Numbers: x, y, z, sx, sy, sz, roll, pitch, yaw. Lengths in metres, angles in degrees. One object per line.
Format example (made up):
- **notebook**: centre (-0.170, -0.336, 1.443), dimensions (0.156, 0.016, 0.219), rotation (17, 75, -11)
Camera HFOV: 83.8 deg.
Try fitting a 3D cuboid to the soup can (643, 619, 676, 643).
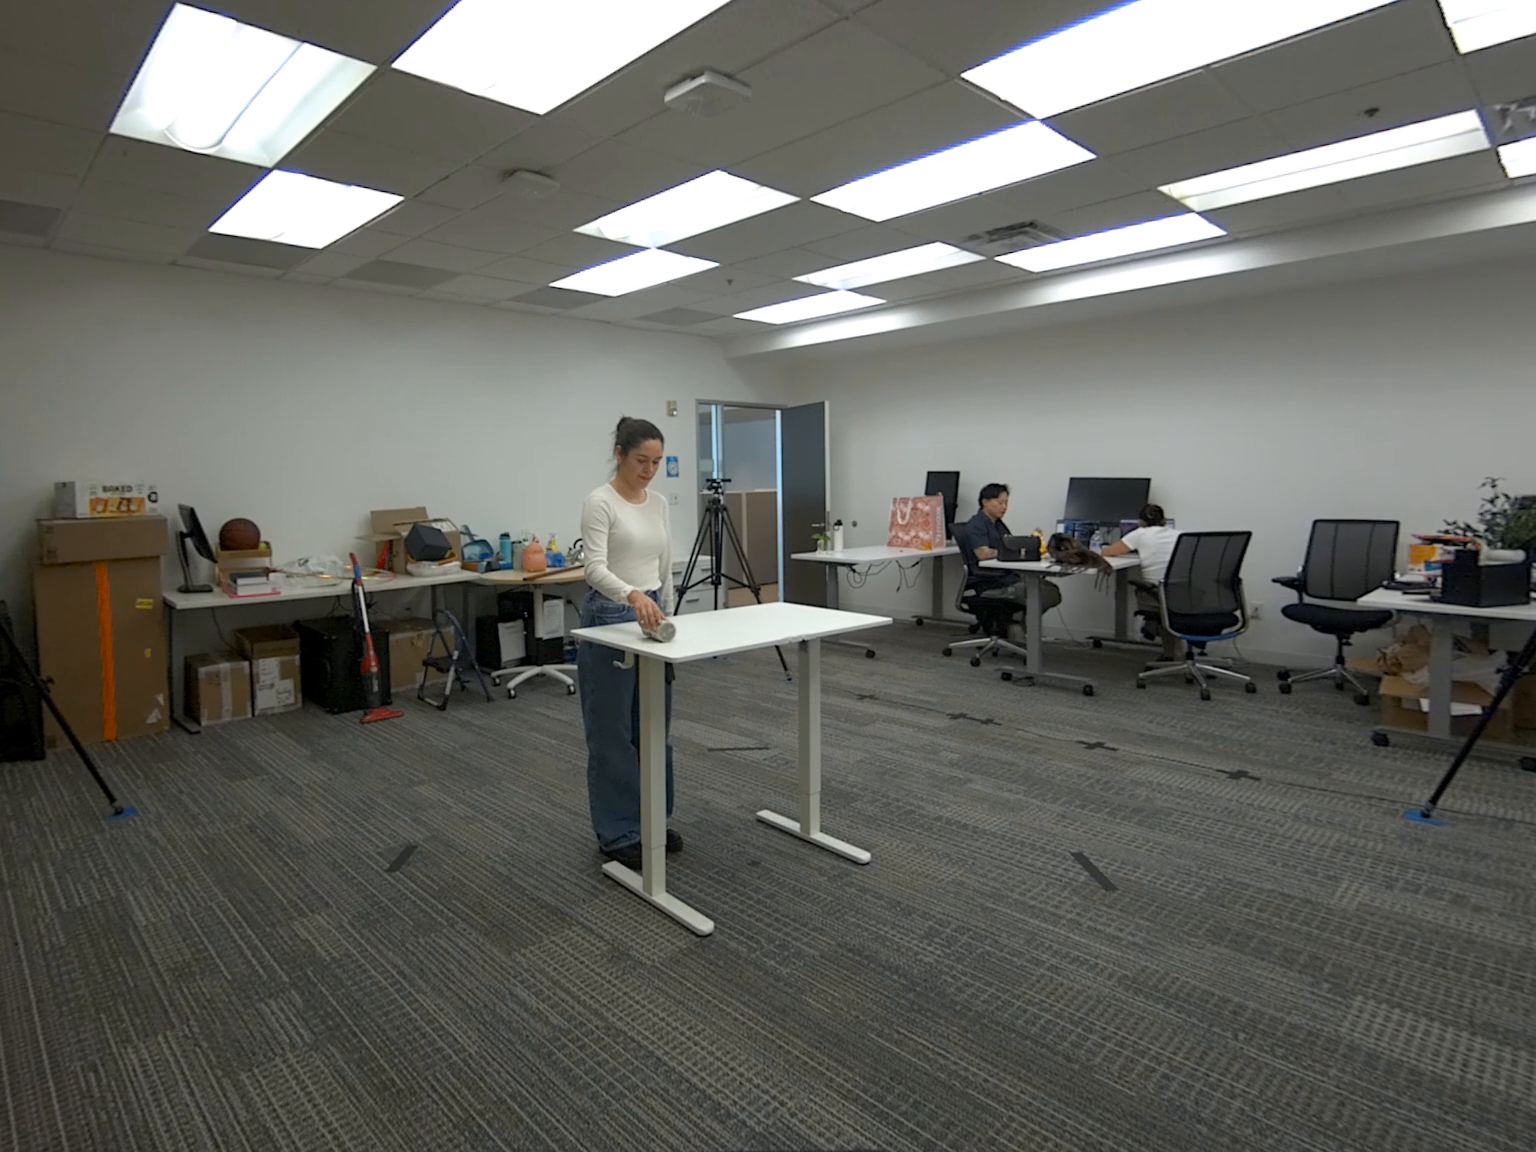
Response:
- **soup can**: centre (-0.340, 0.172, 2.747), dimensions (0.065, 0.067, 0.125), rotation (-4, 9, -29)
